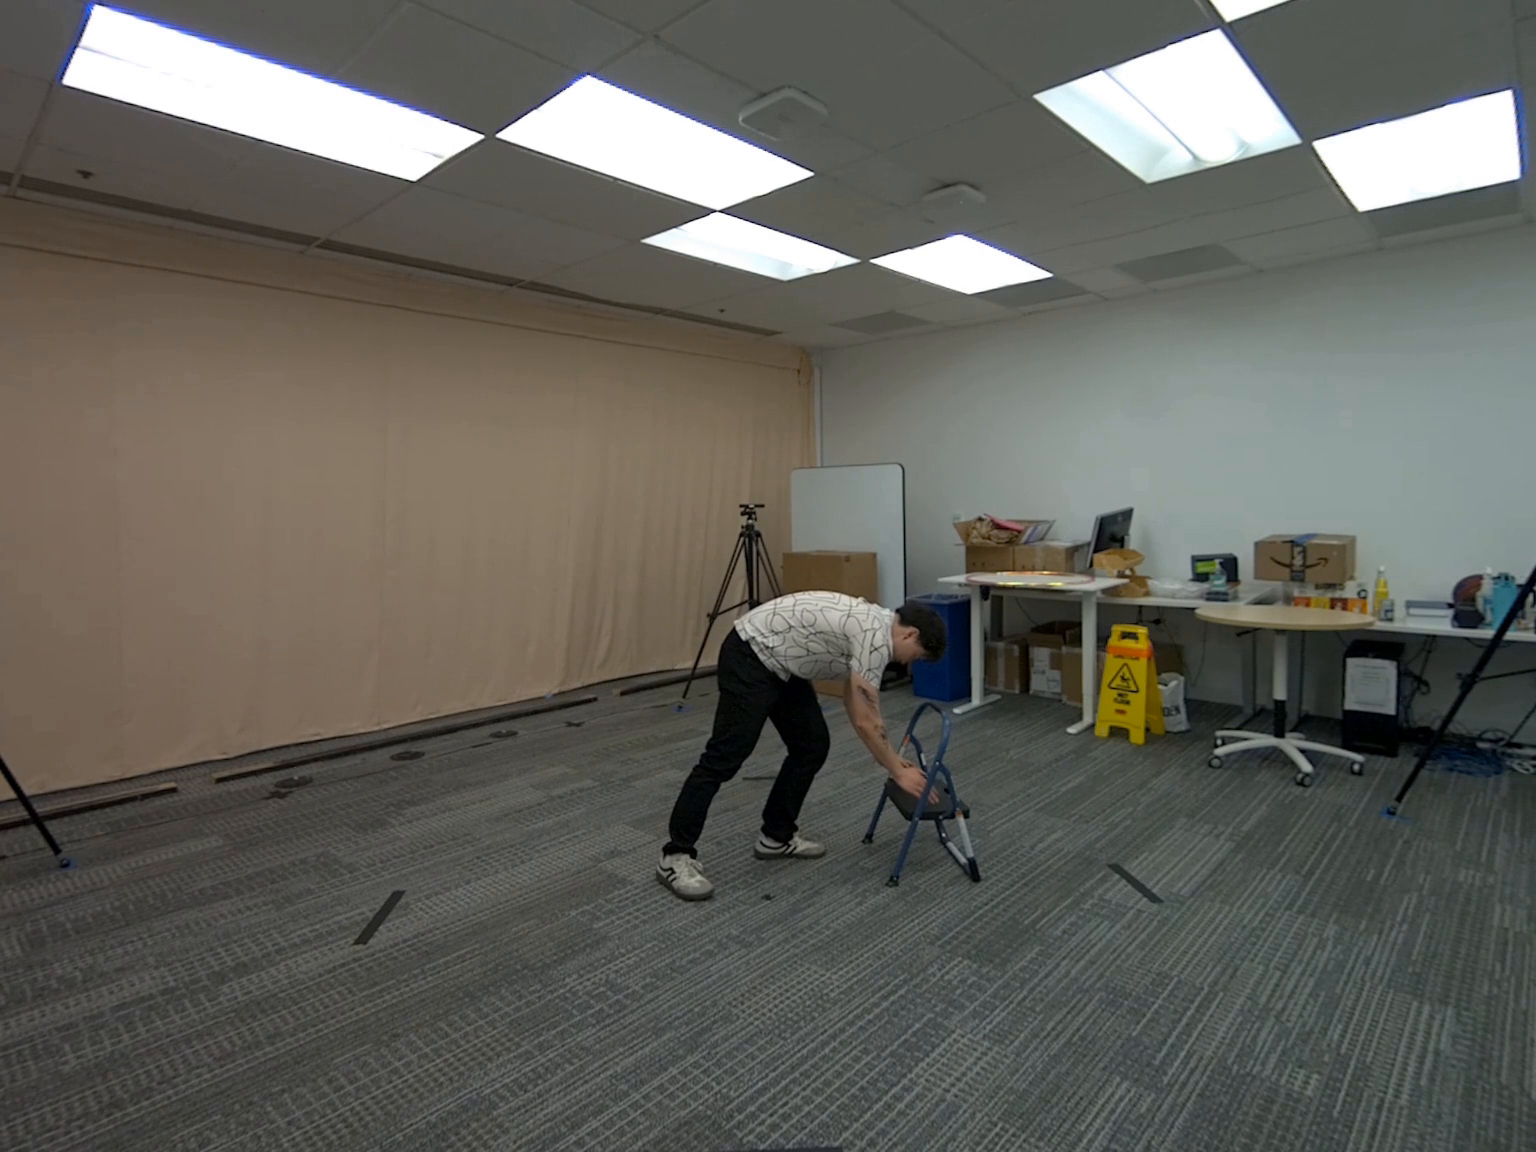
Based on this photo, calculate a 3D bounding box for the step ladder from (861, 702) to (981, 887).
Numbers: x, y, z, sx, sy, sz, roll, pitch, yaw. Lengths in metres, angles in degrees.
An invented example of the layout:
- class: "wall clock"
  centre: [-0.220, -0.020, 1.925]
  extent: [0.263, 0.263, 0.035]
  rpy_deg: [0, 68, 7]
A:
- class: "step ladder"
  centre: [0.587, 0.803, 3.248]
  extent: [0.348, 0.604, 0.434]
  rpy_deg: [-1, 4, -5]
